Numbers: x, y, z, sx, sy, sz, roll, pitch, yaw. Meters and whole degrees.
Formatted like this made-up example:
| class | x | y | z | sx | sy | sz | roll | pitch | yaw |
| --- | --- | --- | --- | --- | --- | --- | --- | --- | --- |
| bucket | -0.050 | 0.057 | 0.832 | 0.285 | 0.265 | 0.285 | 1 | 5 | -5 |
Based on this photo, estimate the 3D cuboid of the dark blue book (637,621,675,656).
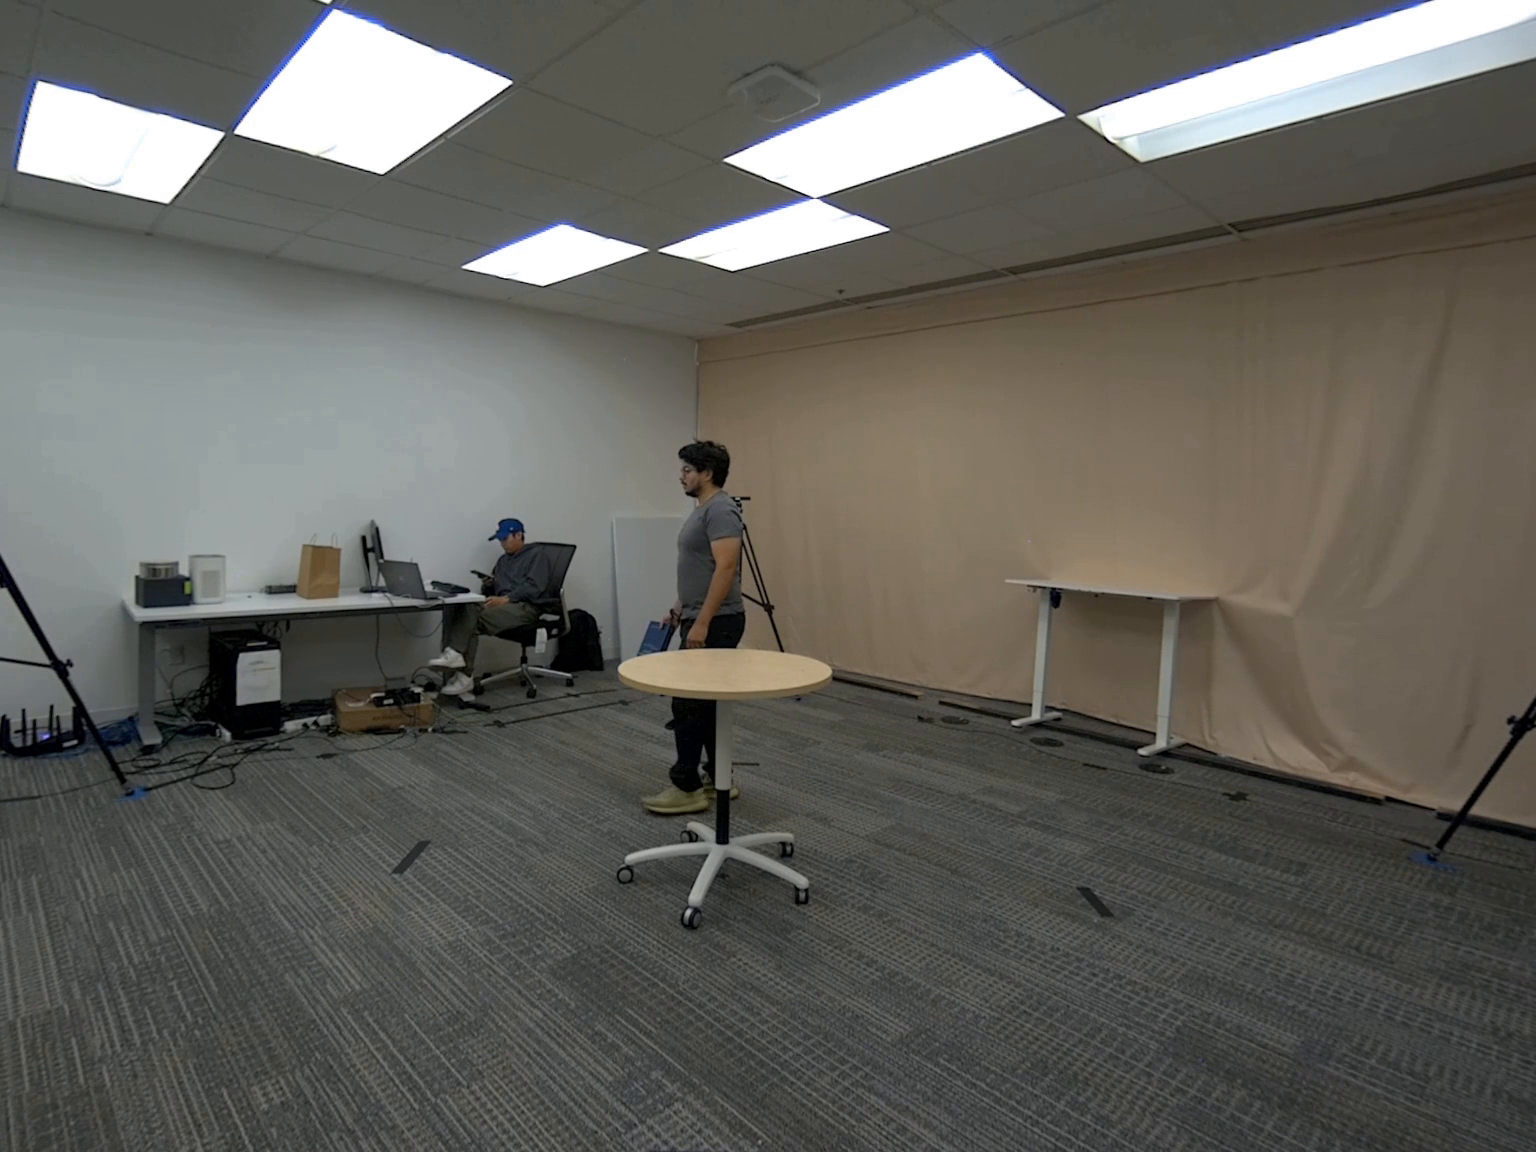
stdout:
| class | x | y | z | sx | sy | sz | roll | pitch | yaw |
| --- | --- | --- | --- | --- | --- | --- | --- | --- | --- |
| dark blue book | -0.576 | 0.349 | 4.186 | 0.167 | 0.247 | 0.044 | 3 | -20 | 45 |
